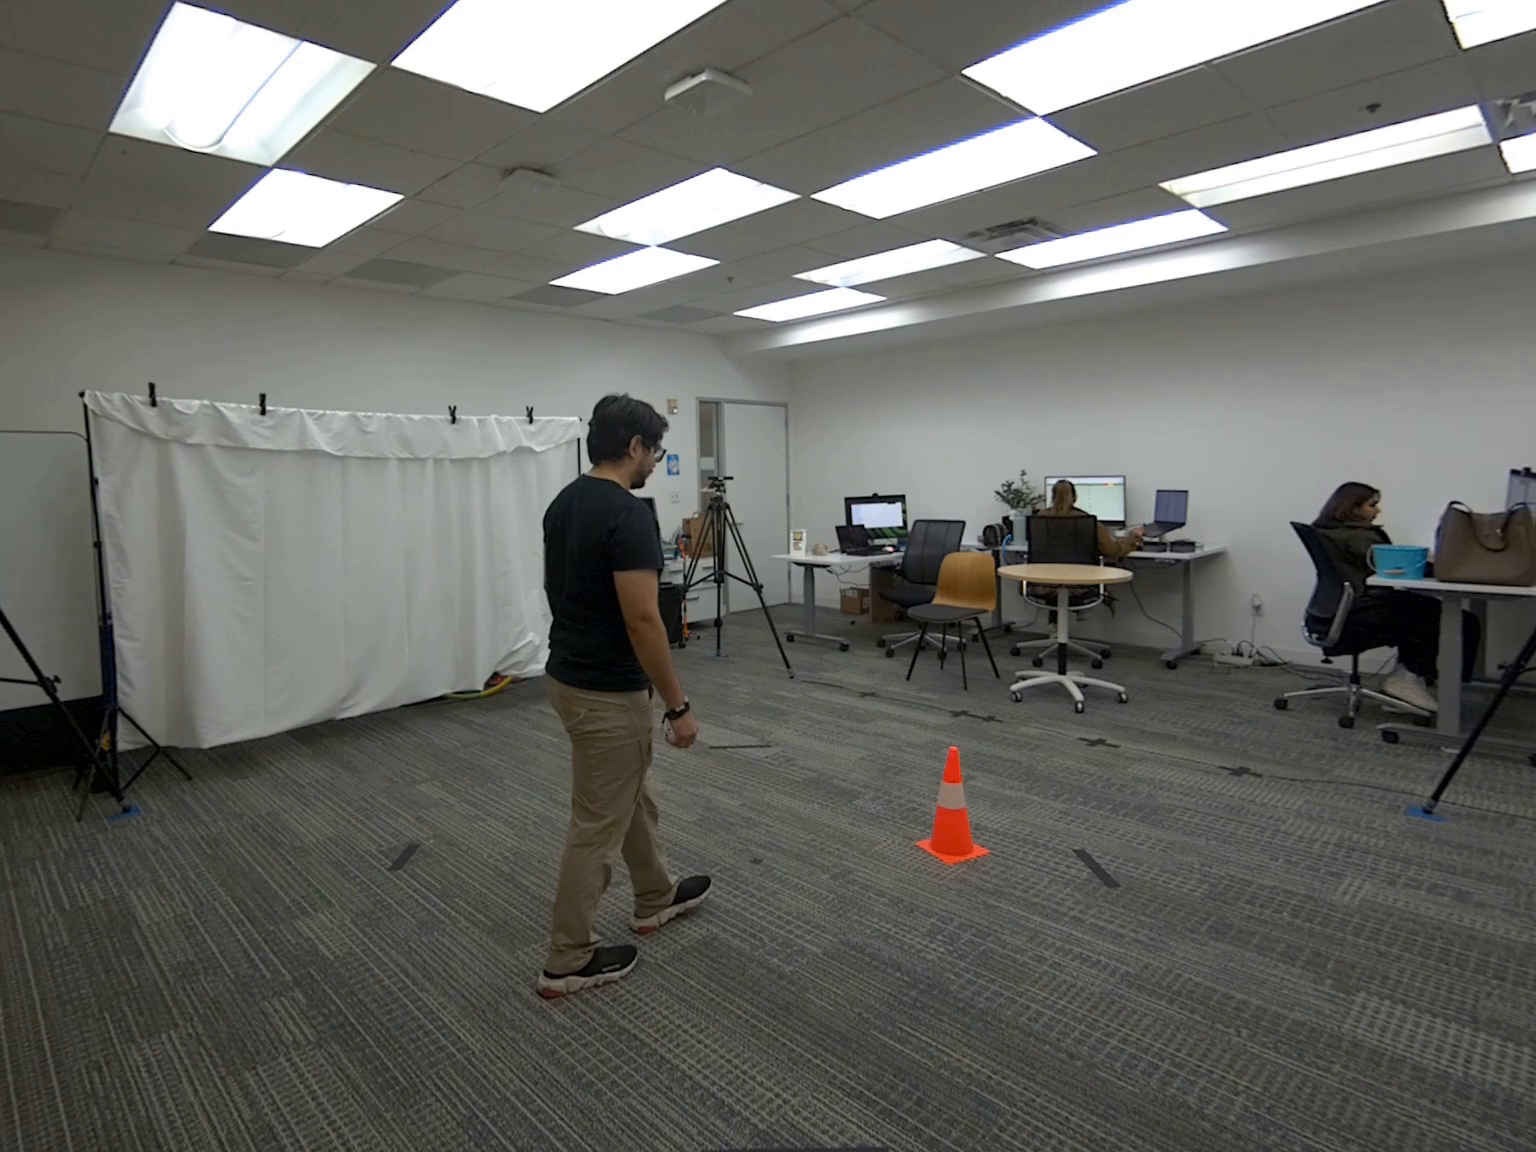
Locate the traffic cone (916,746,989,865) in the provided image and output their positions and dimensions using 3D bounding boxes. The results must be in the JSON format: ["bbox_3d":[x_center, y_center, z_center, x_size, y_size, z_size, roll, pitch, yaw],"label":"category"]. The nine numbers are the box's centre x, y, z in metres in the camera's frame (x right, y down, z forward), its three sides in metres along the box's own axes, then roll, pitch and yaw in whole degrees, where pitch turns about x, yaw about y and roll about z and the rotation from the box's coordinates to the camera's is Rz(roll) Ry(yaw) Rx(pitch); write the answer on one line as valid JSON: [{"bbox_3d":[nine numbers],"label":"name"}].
[{"bbox_3d":[0.686,0.831,3.172,0.200,0.383,0.208,-4,3,-29],"label":"traffic cone"}]
